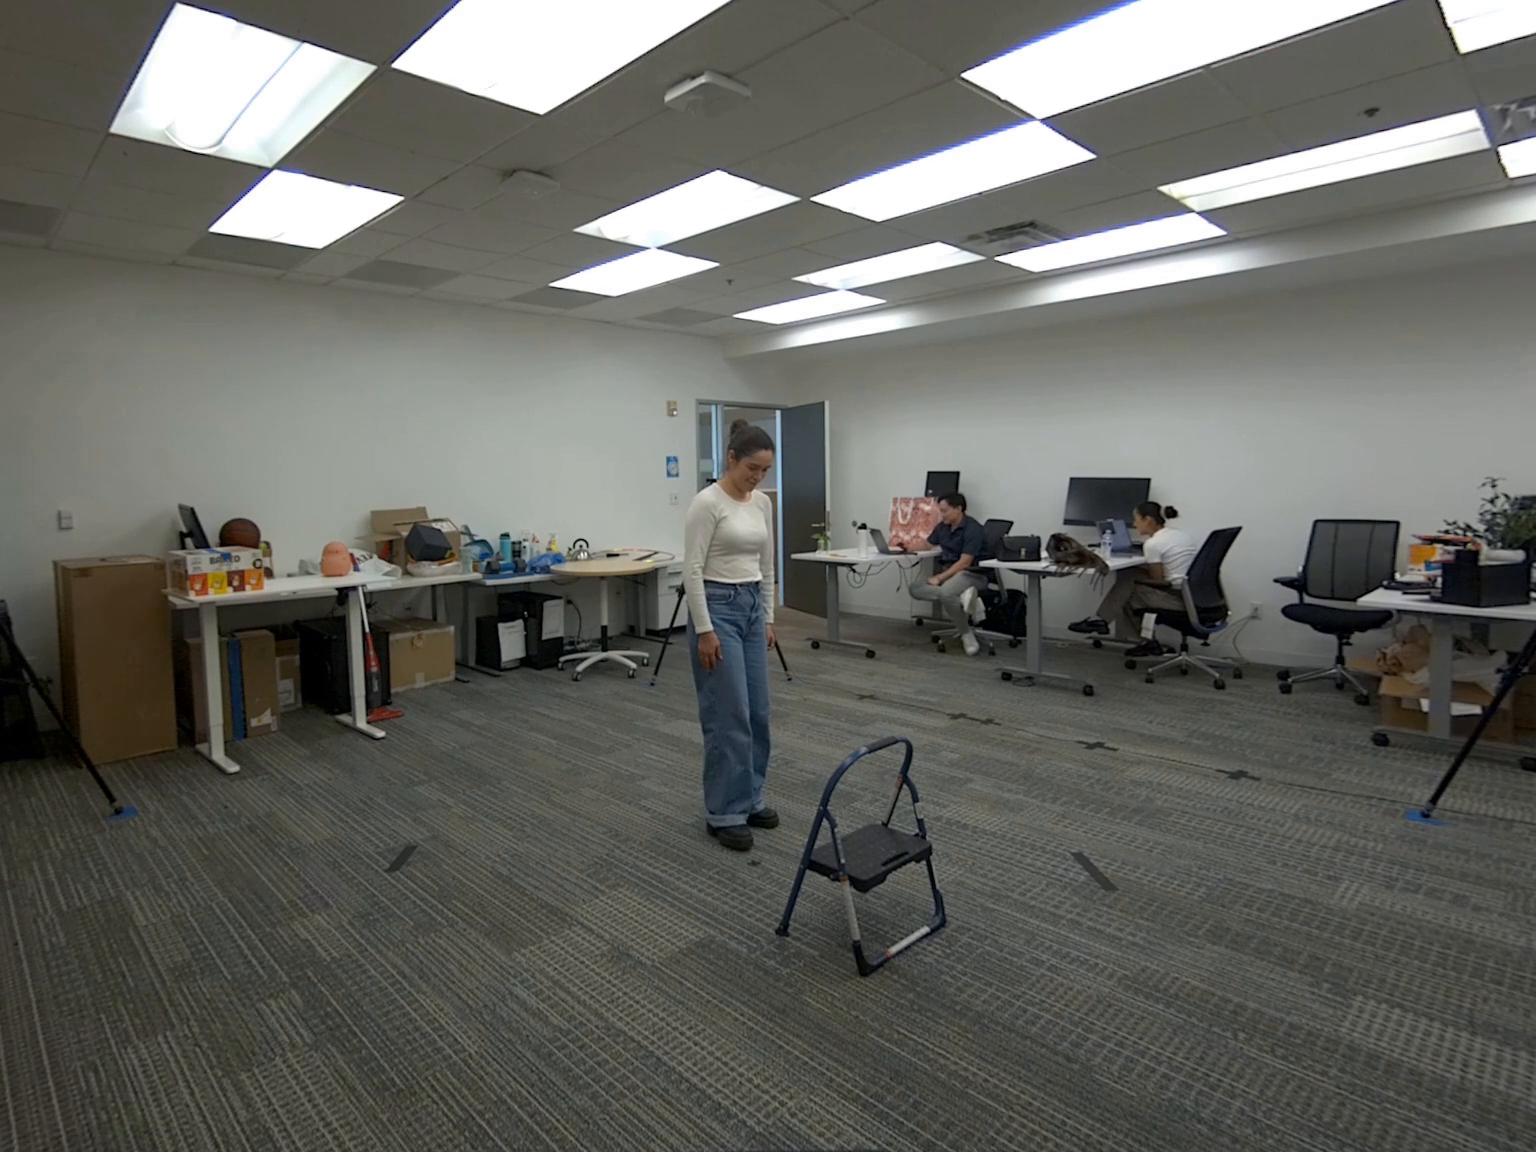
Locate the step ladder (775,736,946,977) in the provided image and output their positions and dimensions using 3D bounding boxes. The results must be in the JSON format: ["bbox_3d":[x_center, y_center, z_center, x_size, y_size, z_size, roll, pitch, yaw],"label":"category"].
[{"bbox_3d":[0.290,0.791,2.626,0.360,0.603,0.419,3,7,45],"label":"step ladder"}]
